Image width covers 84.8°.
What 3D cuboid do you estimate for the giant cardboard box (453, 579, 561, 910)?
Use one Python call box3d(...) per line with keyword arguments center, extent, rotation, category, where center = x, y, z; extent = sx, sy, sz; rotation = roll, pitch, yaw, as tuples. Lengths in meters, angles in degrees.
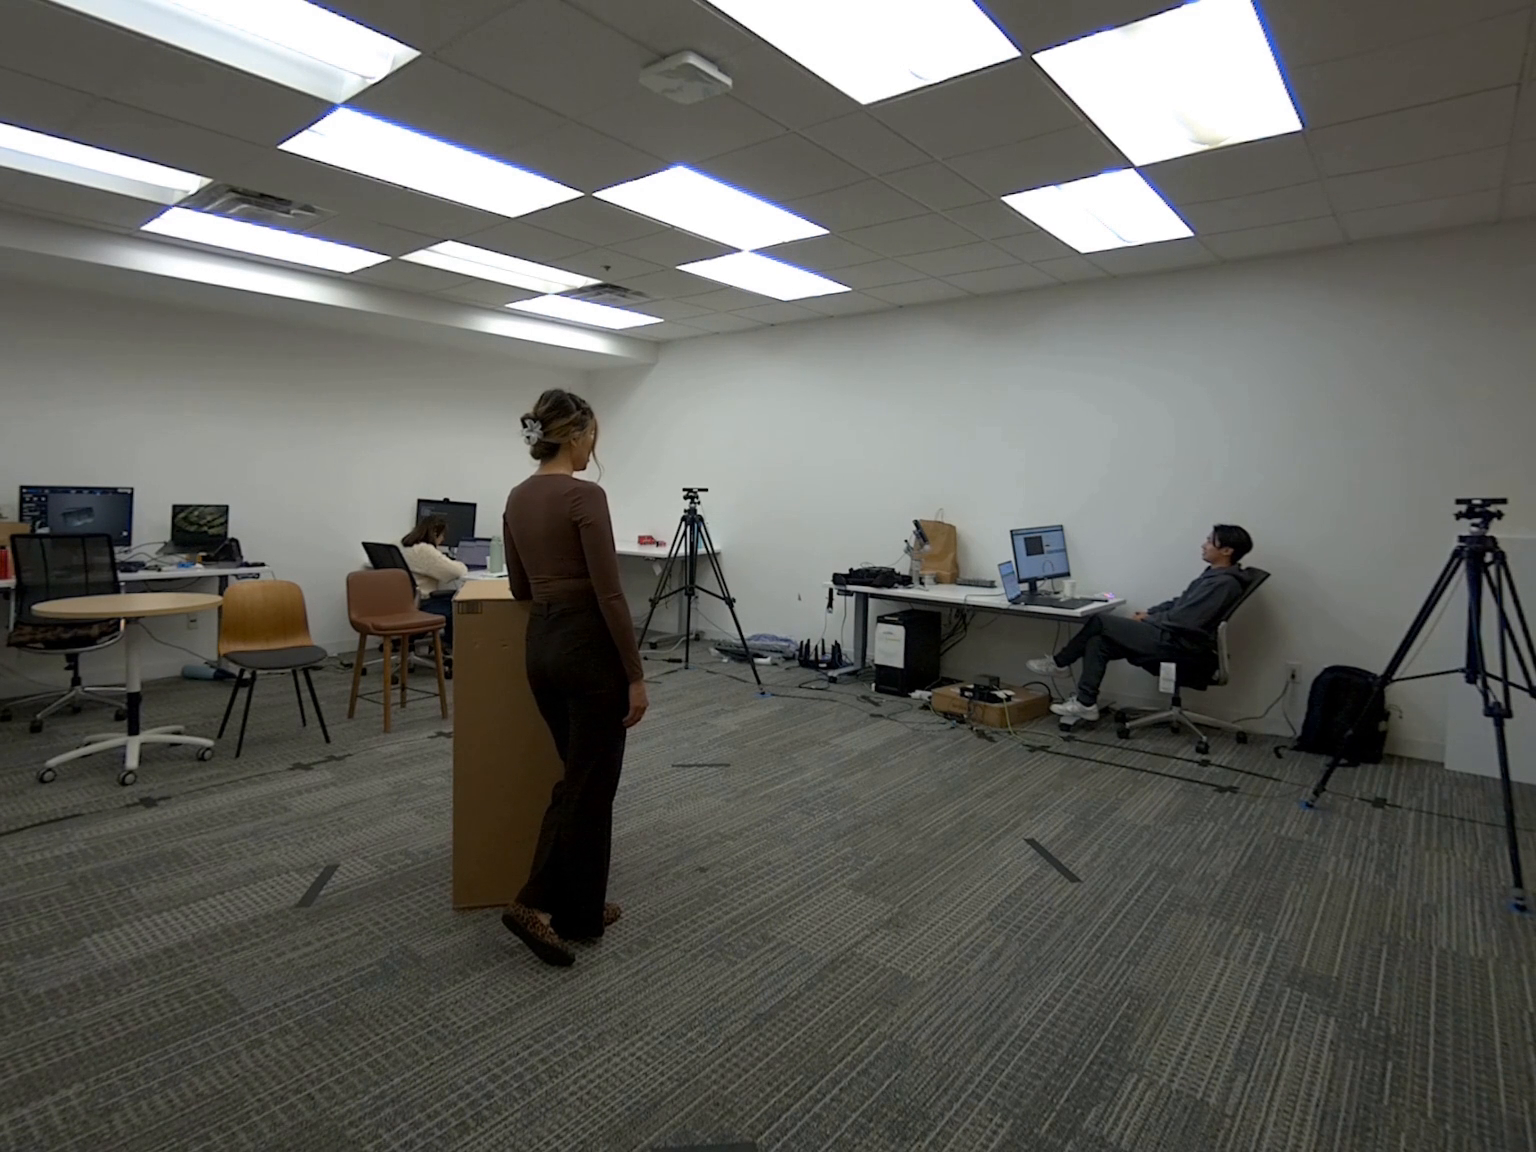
box3d(center=(-0.914, 0.553, 3.082), extent=(0.440, 1.024, 0.595), rotation=(0, 3, -15), category="giant cardboard box")
